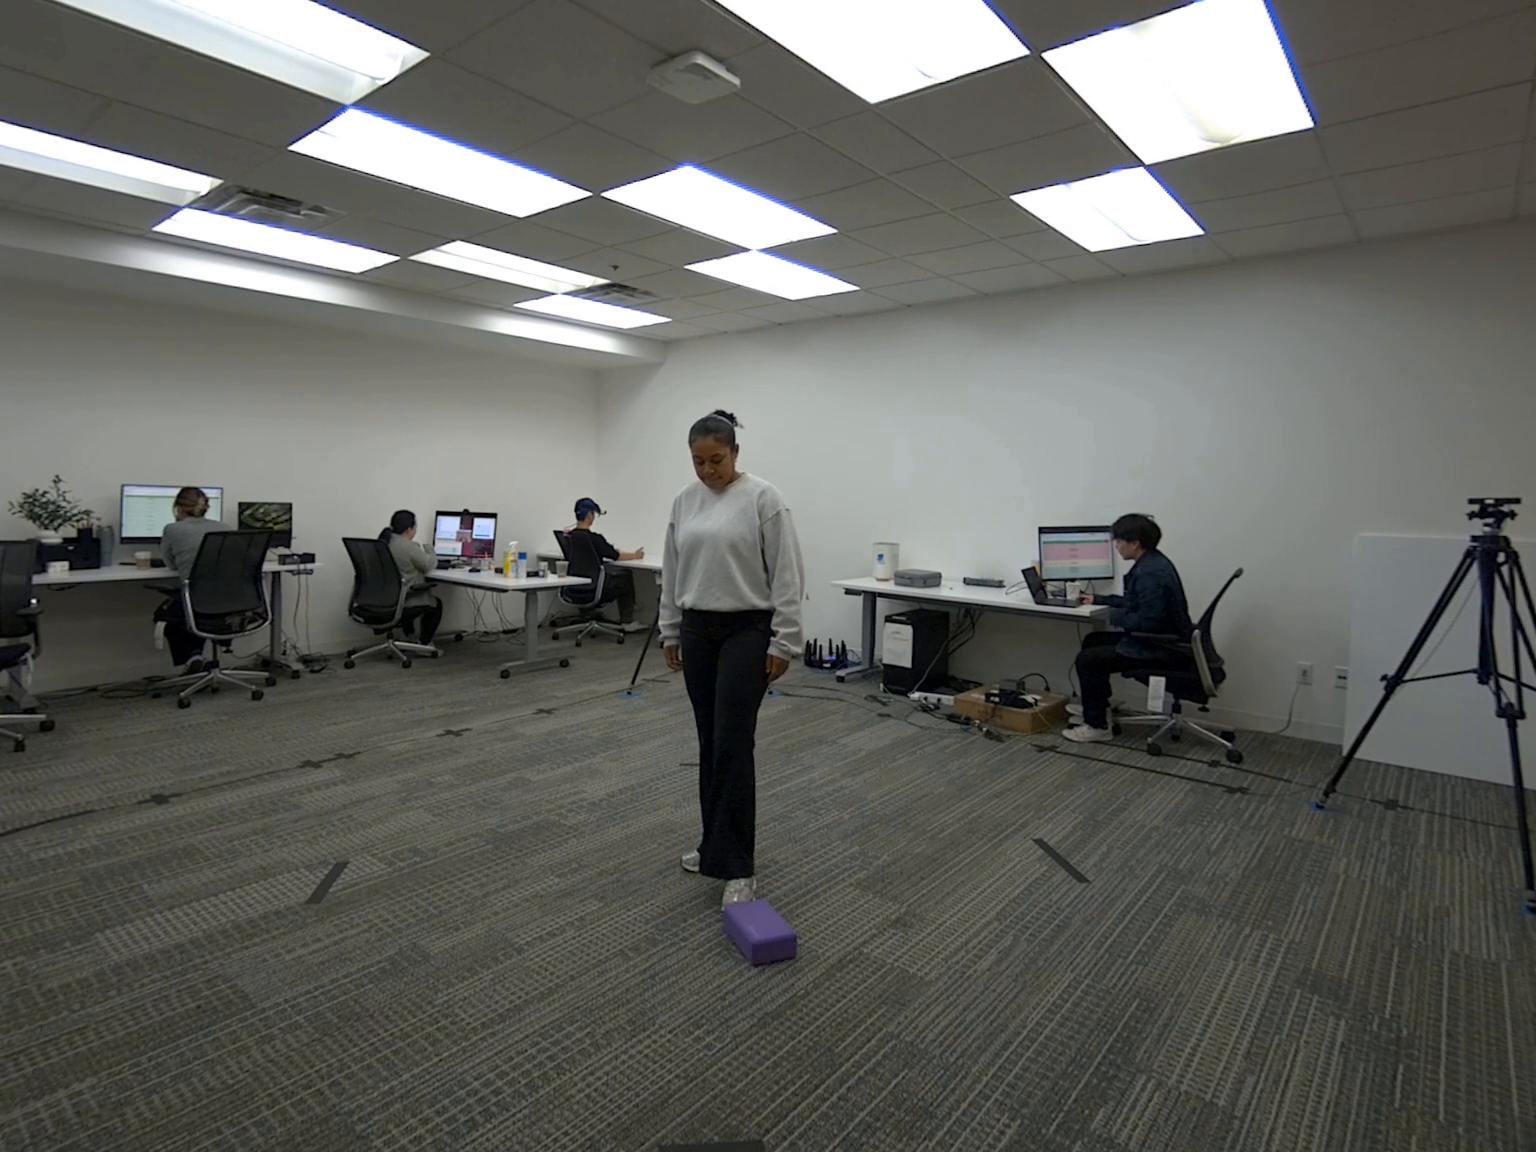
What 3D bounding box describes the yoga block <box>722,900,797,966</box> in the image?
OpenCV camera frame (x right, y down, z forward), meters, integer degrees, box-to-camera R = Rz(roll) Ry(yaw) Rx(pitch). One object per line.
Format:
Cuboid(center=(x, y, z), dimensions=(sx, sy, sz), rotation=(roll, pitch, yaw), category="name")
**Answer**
Cuboid(center=(-0.036, 1.076, 2.597), dimensions=(0.146, 0.076, 0.236), rotation=(-2, 7, -24), category="yoga block")
